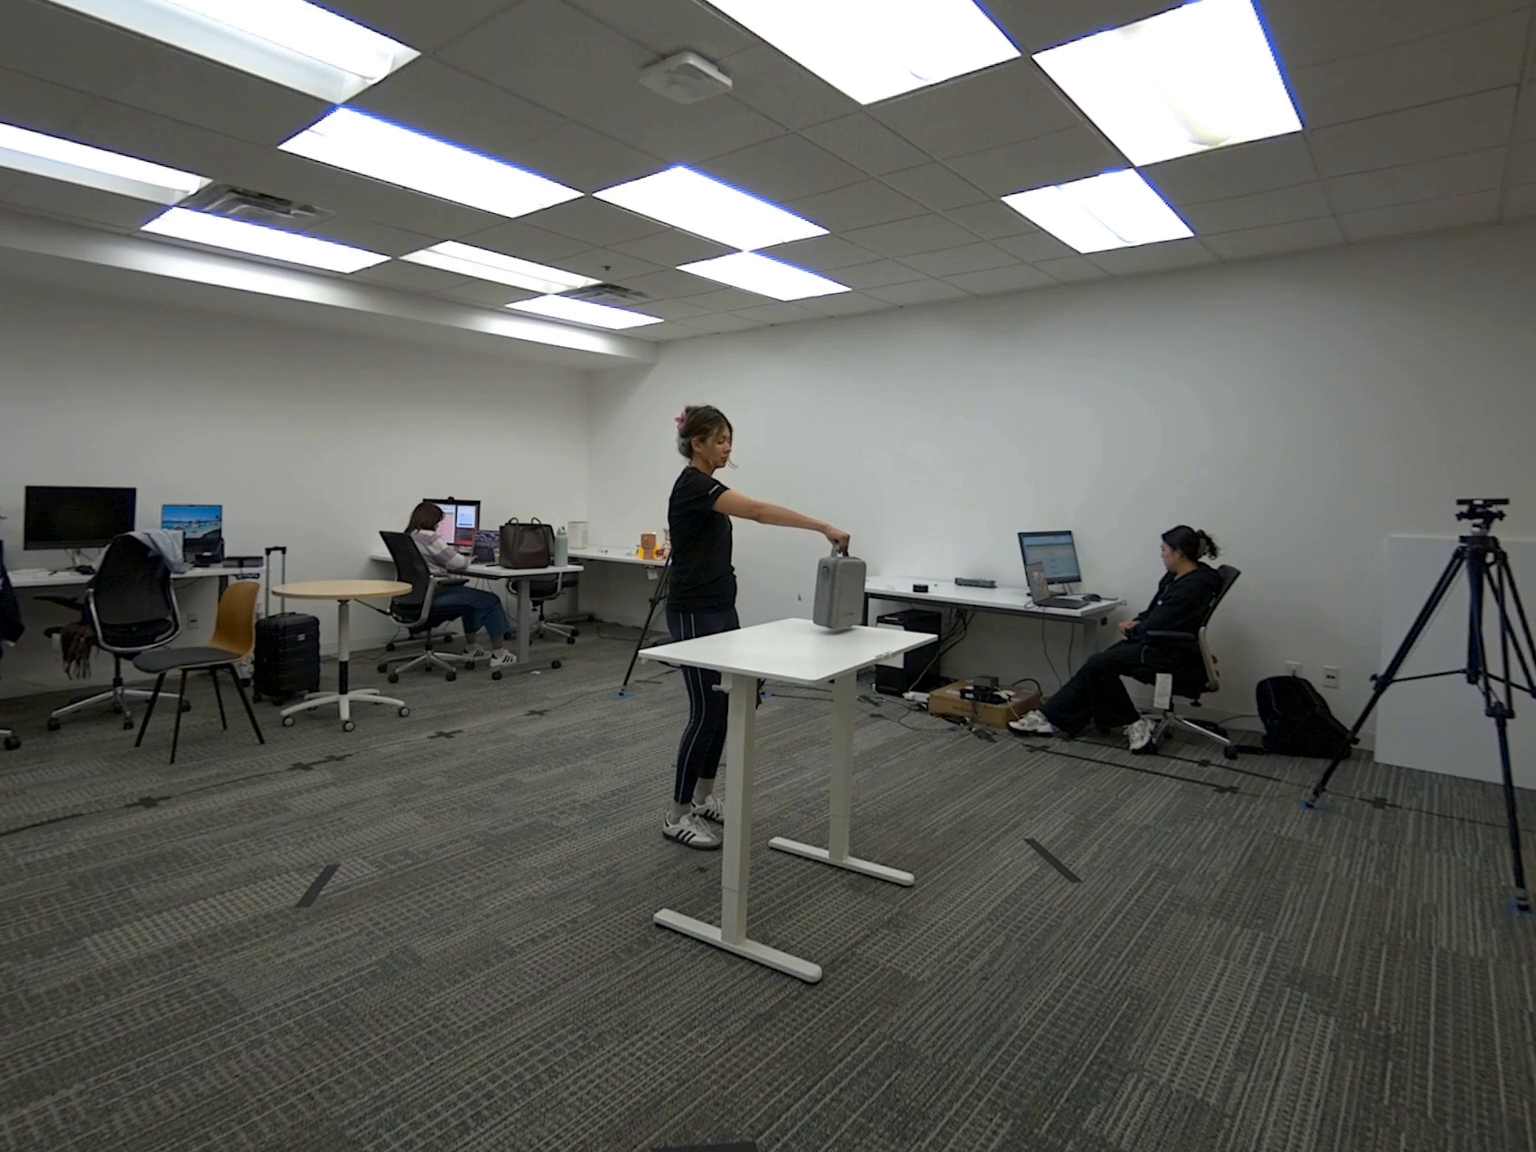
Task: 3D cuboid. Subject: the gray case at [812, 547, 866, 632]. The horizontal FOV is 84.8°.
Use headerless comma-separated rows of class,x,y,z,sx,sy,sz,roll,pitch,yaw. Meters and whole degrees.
gray case,0.256,0.052,3.120,0.107,0.260,0.249,4,1,29
